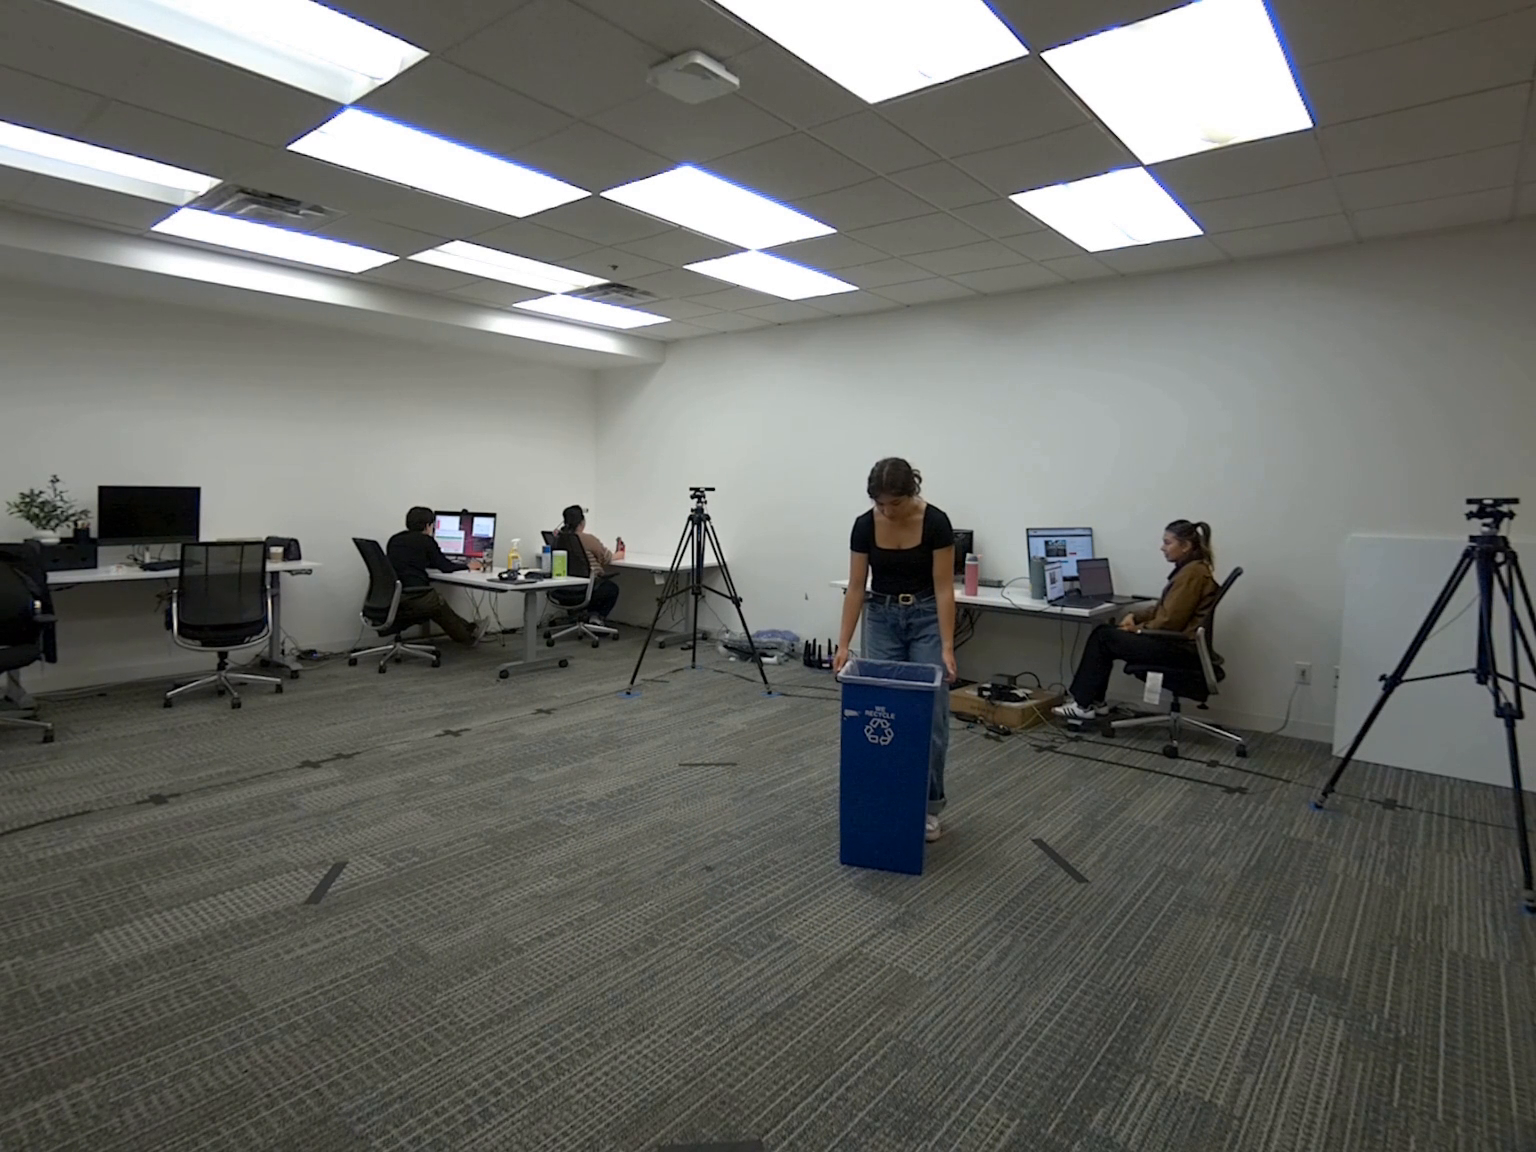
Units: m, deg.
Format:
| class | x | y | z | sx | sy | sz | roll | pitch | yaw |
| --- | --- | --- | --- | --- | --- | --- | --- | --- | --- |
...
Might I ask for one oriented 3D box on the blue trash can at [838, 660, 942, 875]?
| class | x | y | z | sx | sy | sz | roll | pitch | yaw |
| --- | --- | --- | --- | --- | --- | --- | --- | --- | --- |
| blue trash can | 0.454 | 0.709 | 3.255 | 0.380 | 0.711 | 0.373 | 2 | 4 | 14 |
